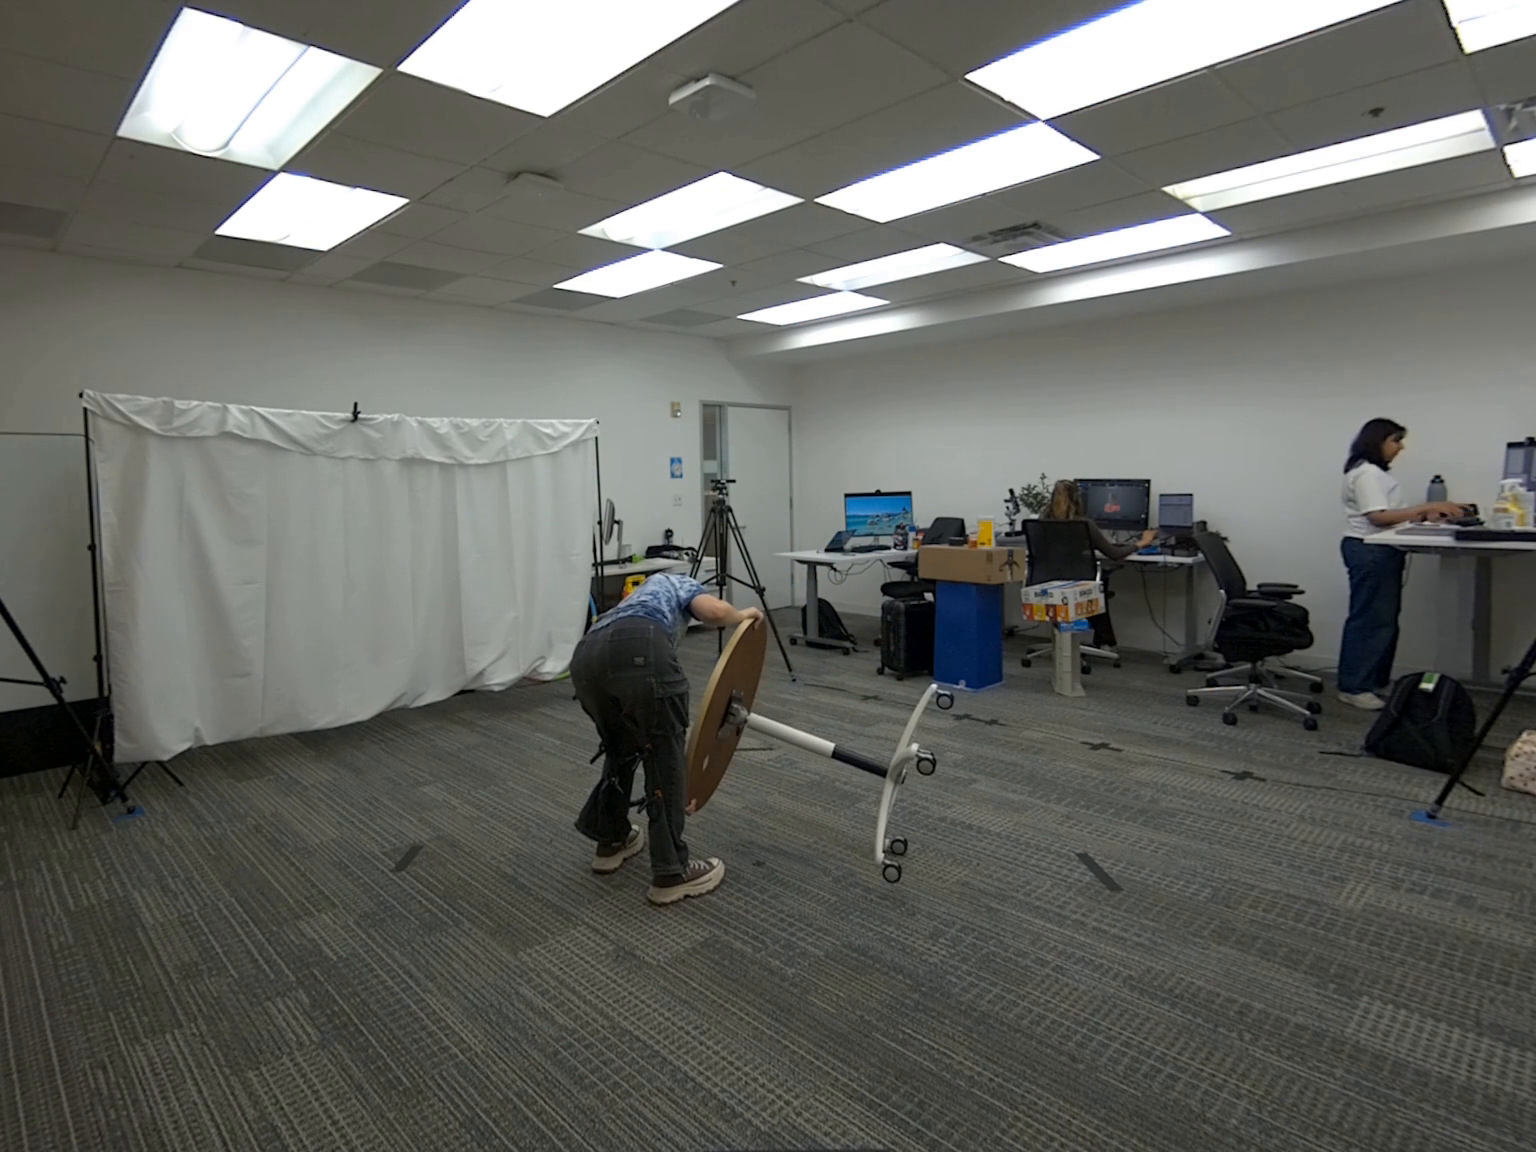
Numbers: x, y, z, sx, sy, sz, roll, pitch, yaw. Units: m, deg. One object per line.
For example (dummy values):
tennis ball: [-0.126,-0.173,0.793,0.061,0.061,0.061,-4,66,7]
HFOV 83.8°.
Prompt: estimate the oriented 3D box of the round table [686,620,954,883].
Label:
round table: [0.203,0.635,3.147,0.808,0.760,0.755,18,9,13]
